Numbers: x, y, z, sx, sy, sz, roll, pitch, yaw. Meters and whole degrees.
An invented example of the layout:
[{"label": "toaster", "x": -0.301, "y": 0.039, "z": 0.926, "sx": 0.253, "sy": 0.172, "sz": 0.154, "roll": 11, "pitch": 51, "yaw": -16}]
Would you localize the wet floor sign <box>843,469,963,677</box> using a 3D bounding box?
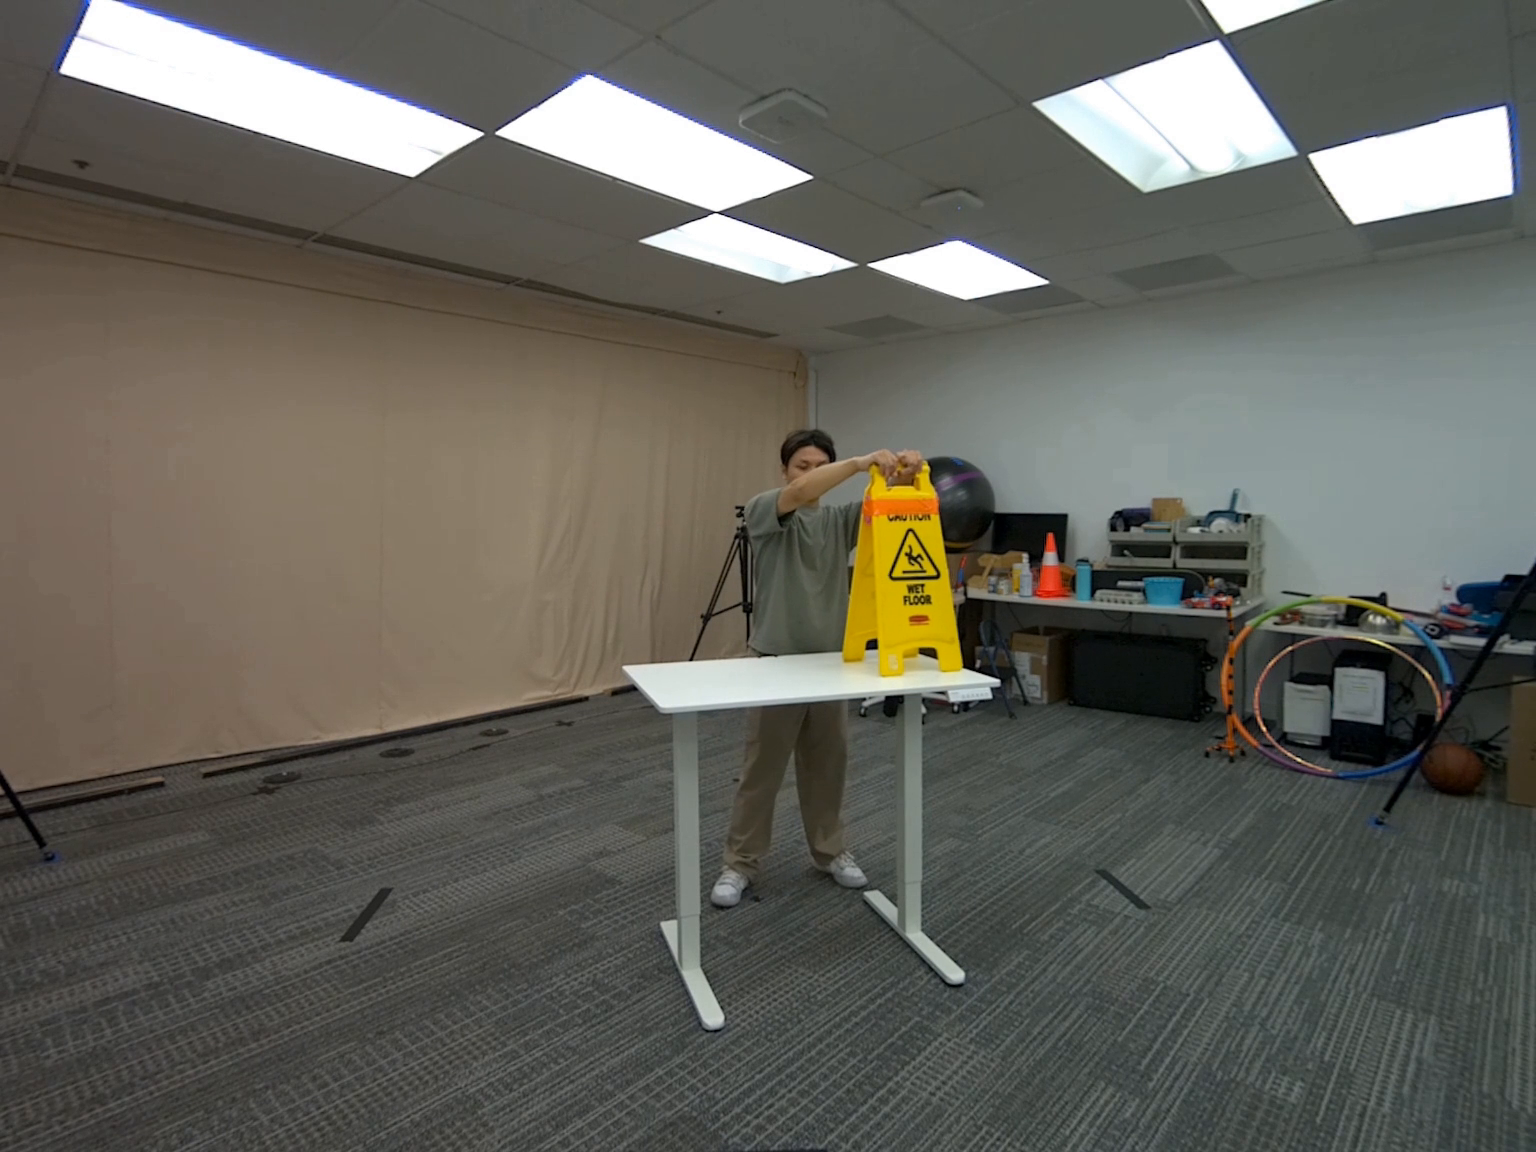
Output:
[{"label": "wet floor sign", "x": 0.419, "y": -0.036, "z": 2.639, "sx": 0.277, "sy": 0.644, "sz": 0.296, "roll": -3, "pitch": 4, "yaw": -20}]
